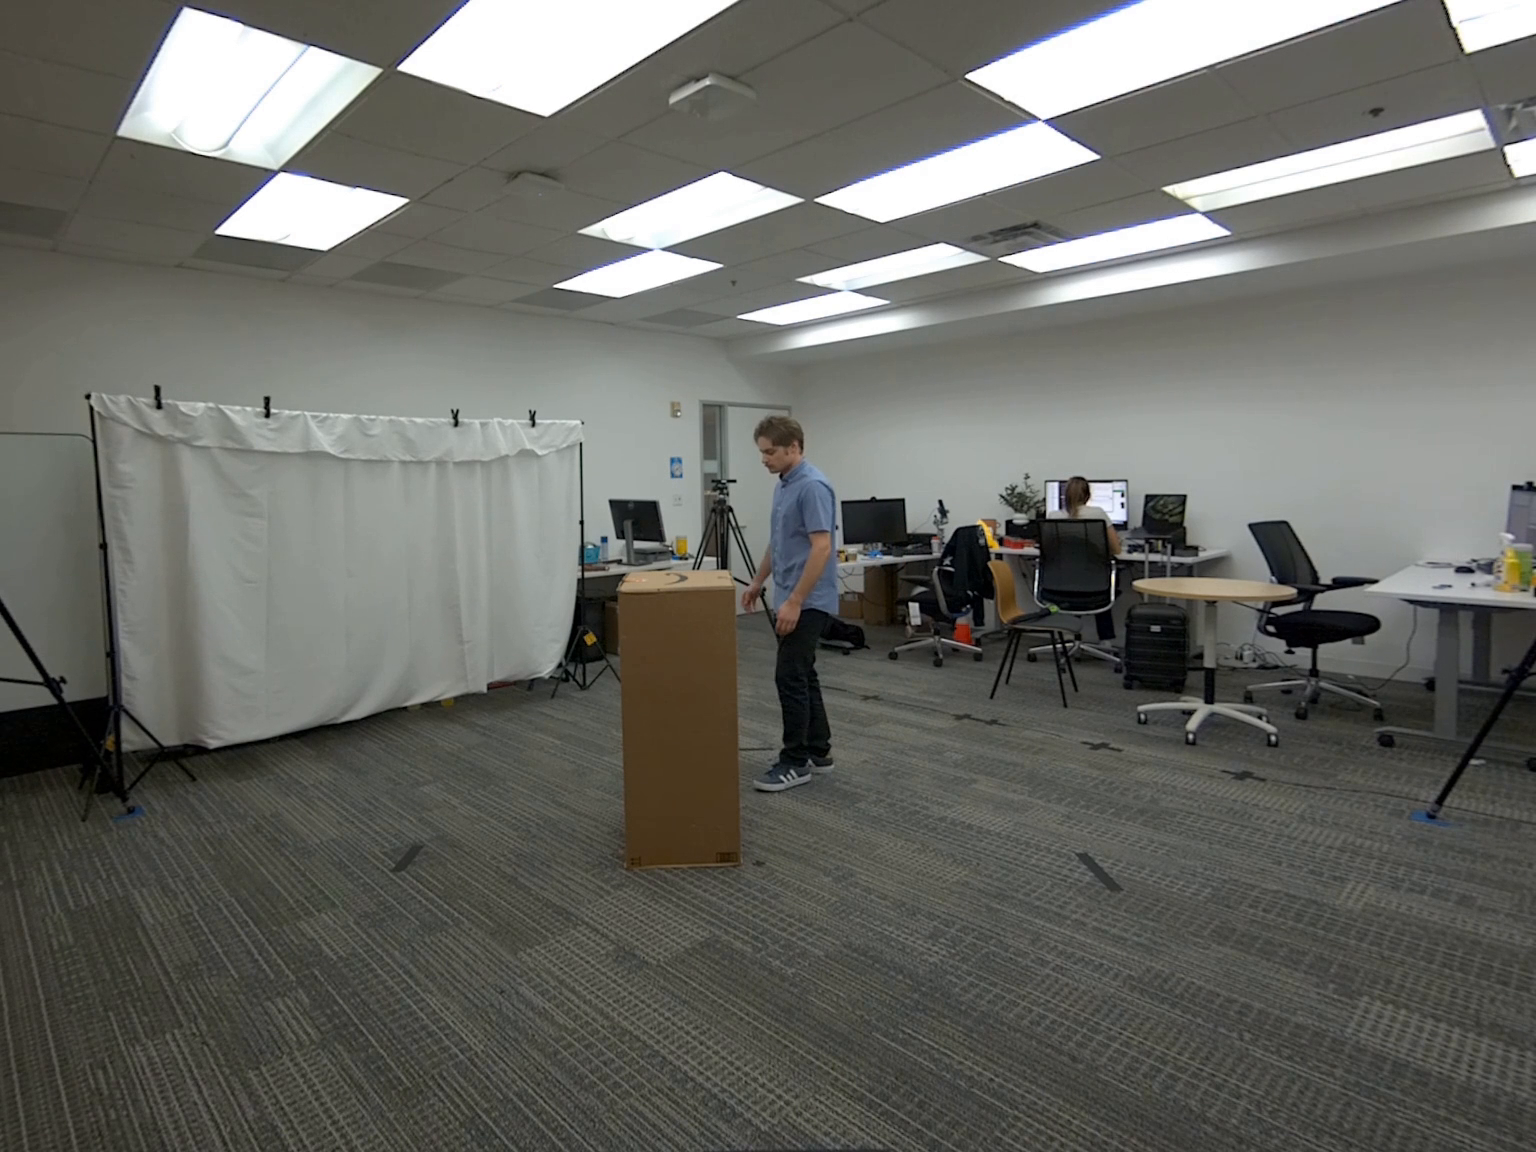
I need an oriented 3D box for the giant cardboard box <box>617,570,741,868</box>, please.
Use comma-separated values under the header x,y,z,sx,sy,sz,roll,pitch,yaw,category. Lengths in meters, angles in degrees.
x,y,z,sx,sy,sz,roll,pitch,yaw,category
-0.343,0.517,3.338,0.425,1.022,0.581,-1,4,-3,giant cardboard box
